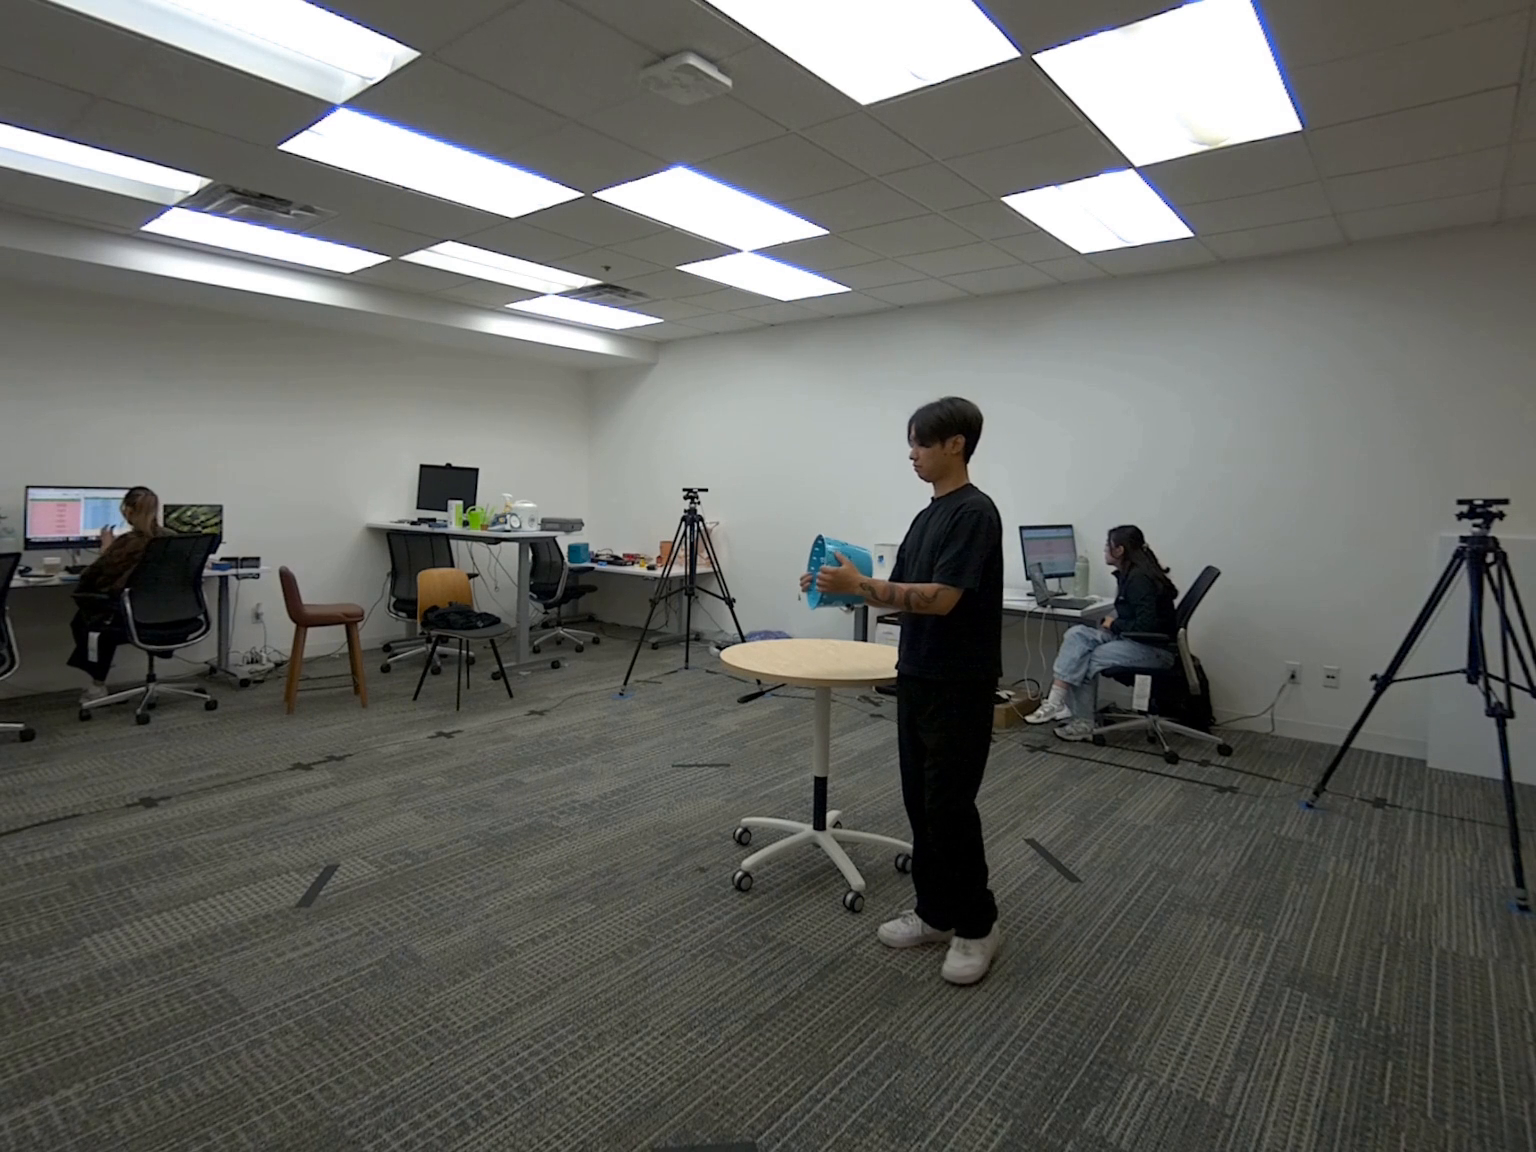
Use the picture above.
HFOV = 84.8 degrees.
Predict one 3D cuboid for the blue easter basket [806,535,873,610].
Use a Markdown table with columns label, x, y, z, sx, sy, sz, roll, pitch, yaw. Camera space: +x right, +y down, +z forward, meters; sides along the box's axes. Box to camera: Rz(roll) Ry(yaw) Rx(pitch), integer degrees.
| label | x | y | z | sx | sy | sz | roll | pitch | yaw |
| --- | --- | --- | --- | --- | --- | --- | --- | --- | --- |
| blue easter basket | 0.231 | -0.003 | 2.624 | 0.154 | 0.243 | 0.247 | 7 | 3 | -11 |
